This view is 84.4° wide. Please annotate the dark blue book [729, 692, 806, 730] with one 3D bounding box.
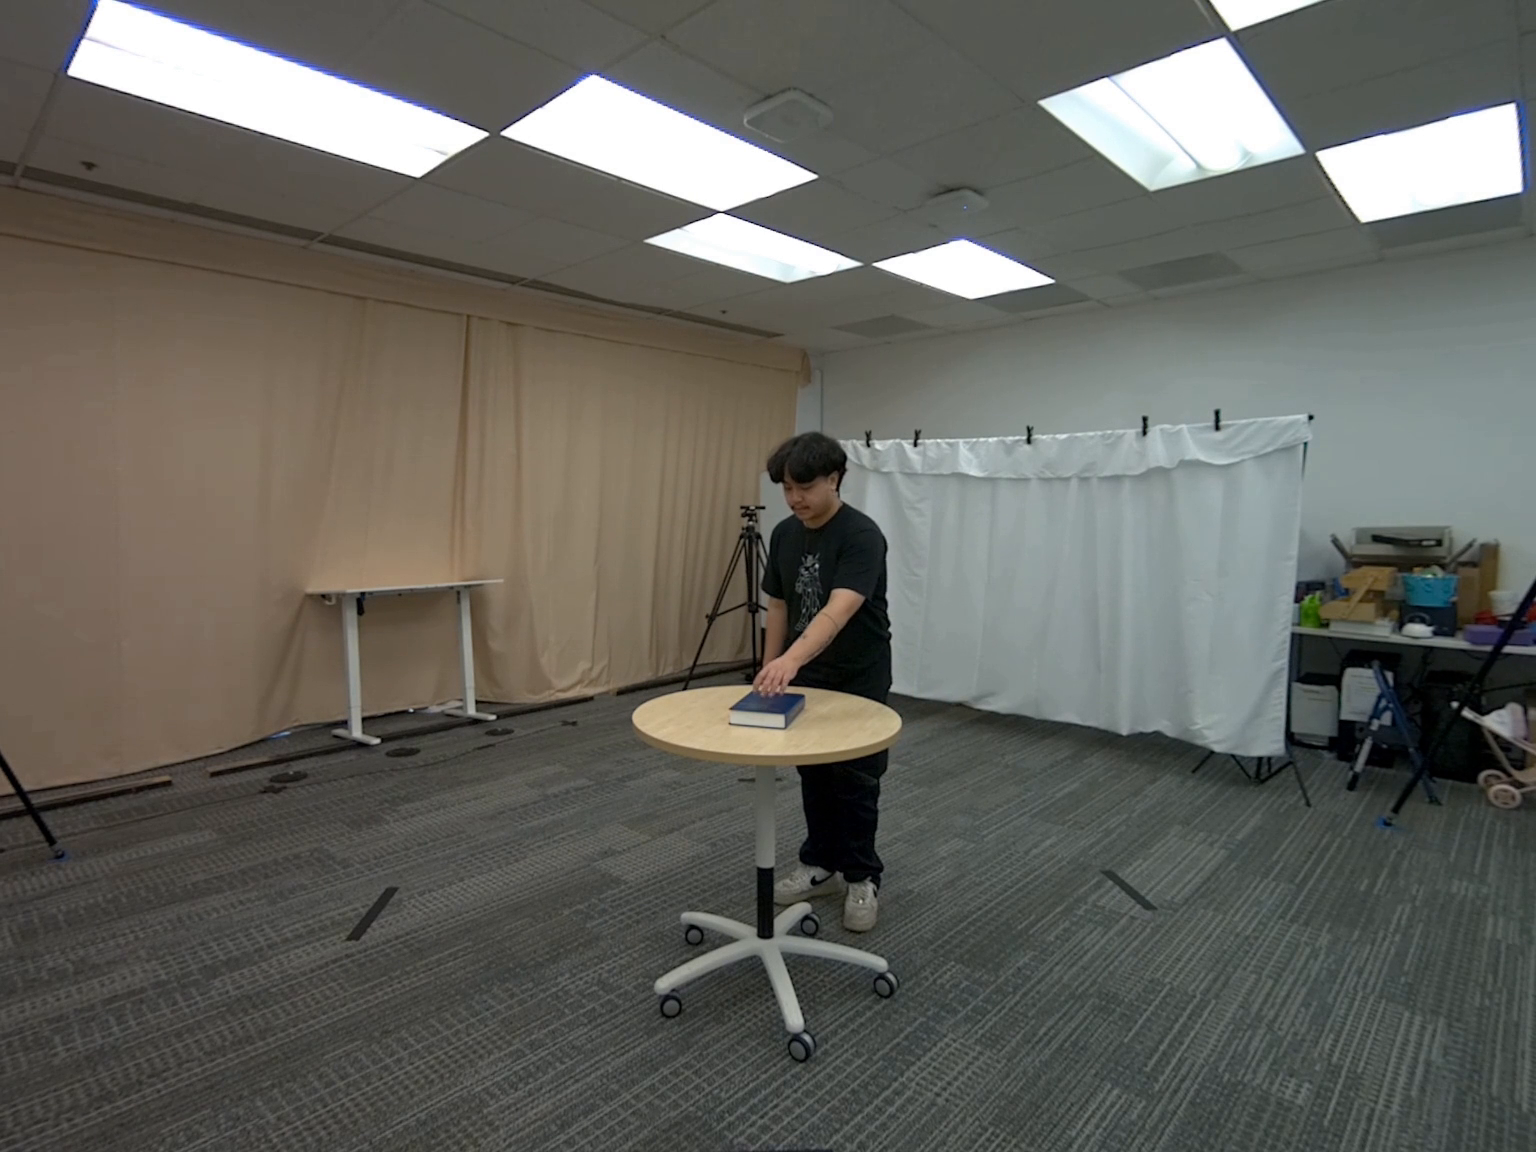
[{"bbox_3d":[0.007,0.384,2.390,0.166,0.045,0.241,2,6,16],"label":"dark blue book"}]
